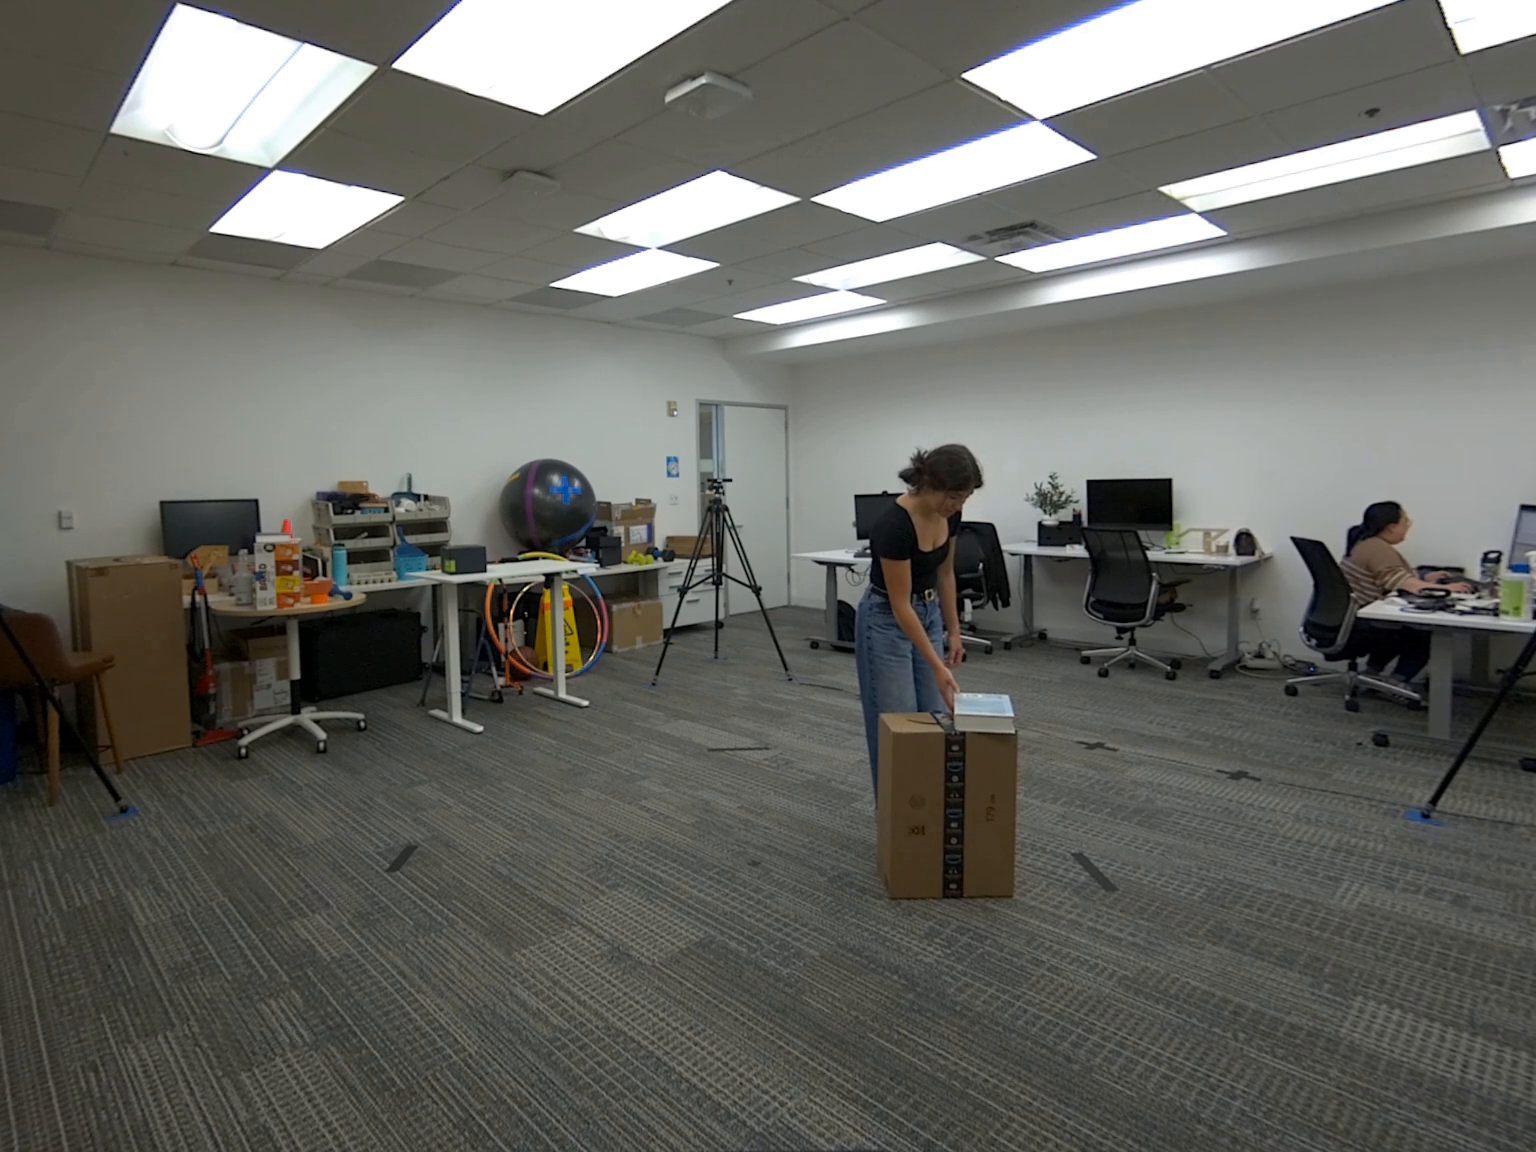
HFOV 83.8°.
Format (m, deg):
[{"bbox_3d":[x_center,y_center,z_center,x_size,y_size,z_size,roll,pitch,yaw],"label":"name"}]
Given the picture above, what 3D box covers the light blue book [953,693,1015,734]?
[{"bbox_3d":[0.738,0.466,2.900,0.194,0.059,0.259,0,8,12],"label":"light blue book"}]
